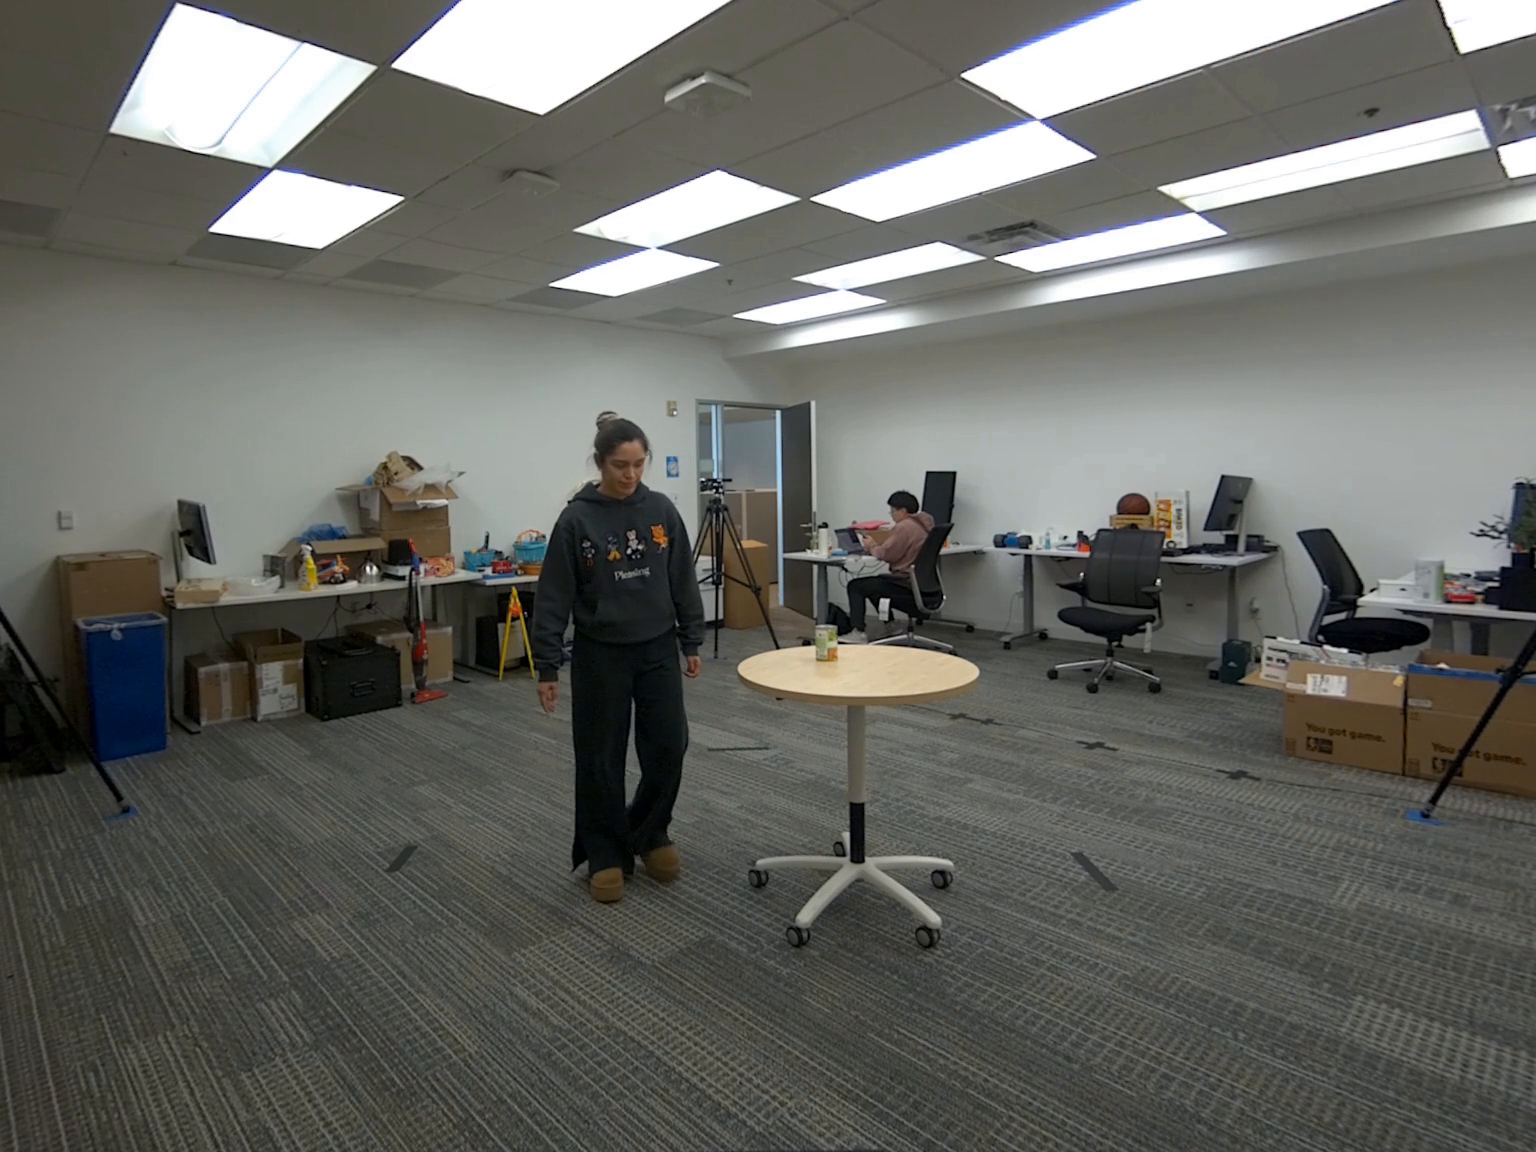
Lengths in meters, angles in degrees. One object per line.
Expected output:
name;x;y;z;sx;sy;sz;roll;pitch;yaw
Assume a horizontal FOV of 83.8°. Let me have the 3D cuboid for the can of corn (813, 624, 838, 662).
can of corn;0.199;0.225;2.868;0.074;0.111;0.074;-1;4;-2
